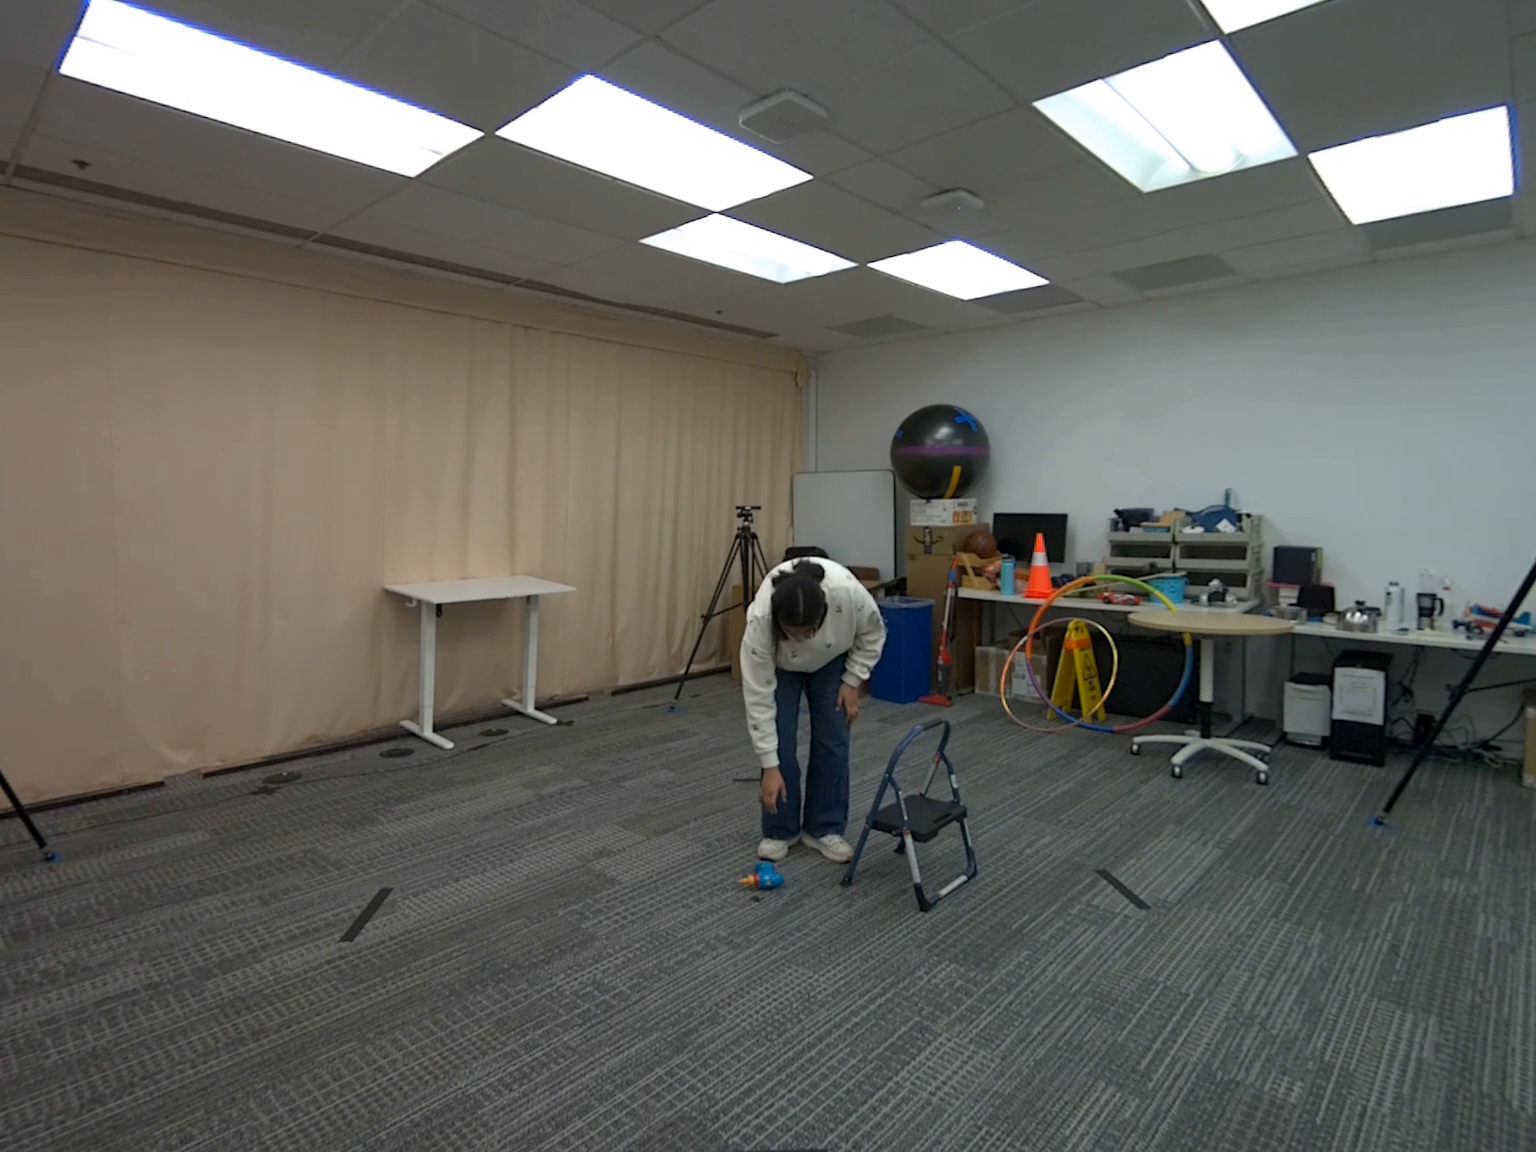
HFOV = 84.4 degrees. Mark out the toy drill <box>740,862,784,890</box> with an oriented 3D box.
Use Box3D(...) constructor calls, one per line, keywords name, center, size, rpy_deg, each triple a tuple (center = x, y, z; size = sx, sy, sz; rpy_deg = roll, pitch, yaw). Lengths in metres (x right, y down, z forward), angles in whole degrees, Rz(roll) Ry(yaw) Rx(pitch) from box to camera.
Box3D(name="toy drill", center=(-0.025, 1.108, 3.124), size=(0.168, 0.061, 0.148), rpy_deg=(-1, 4, -10))
